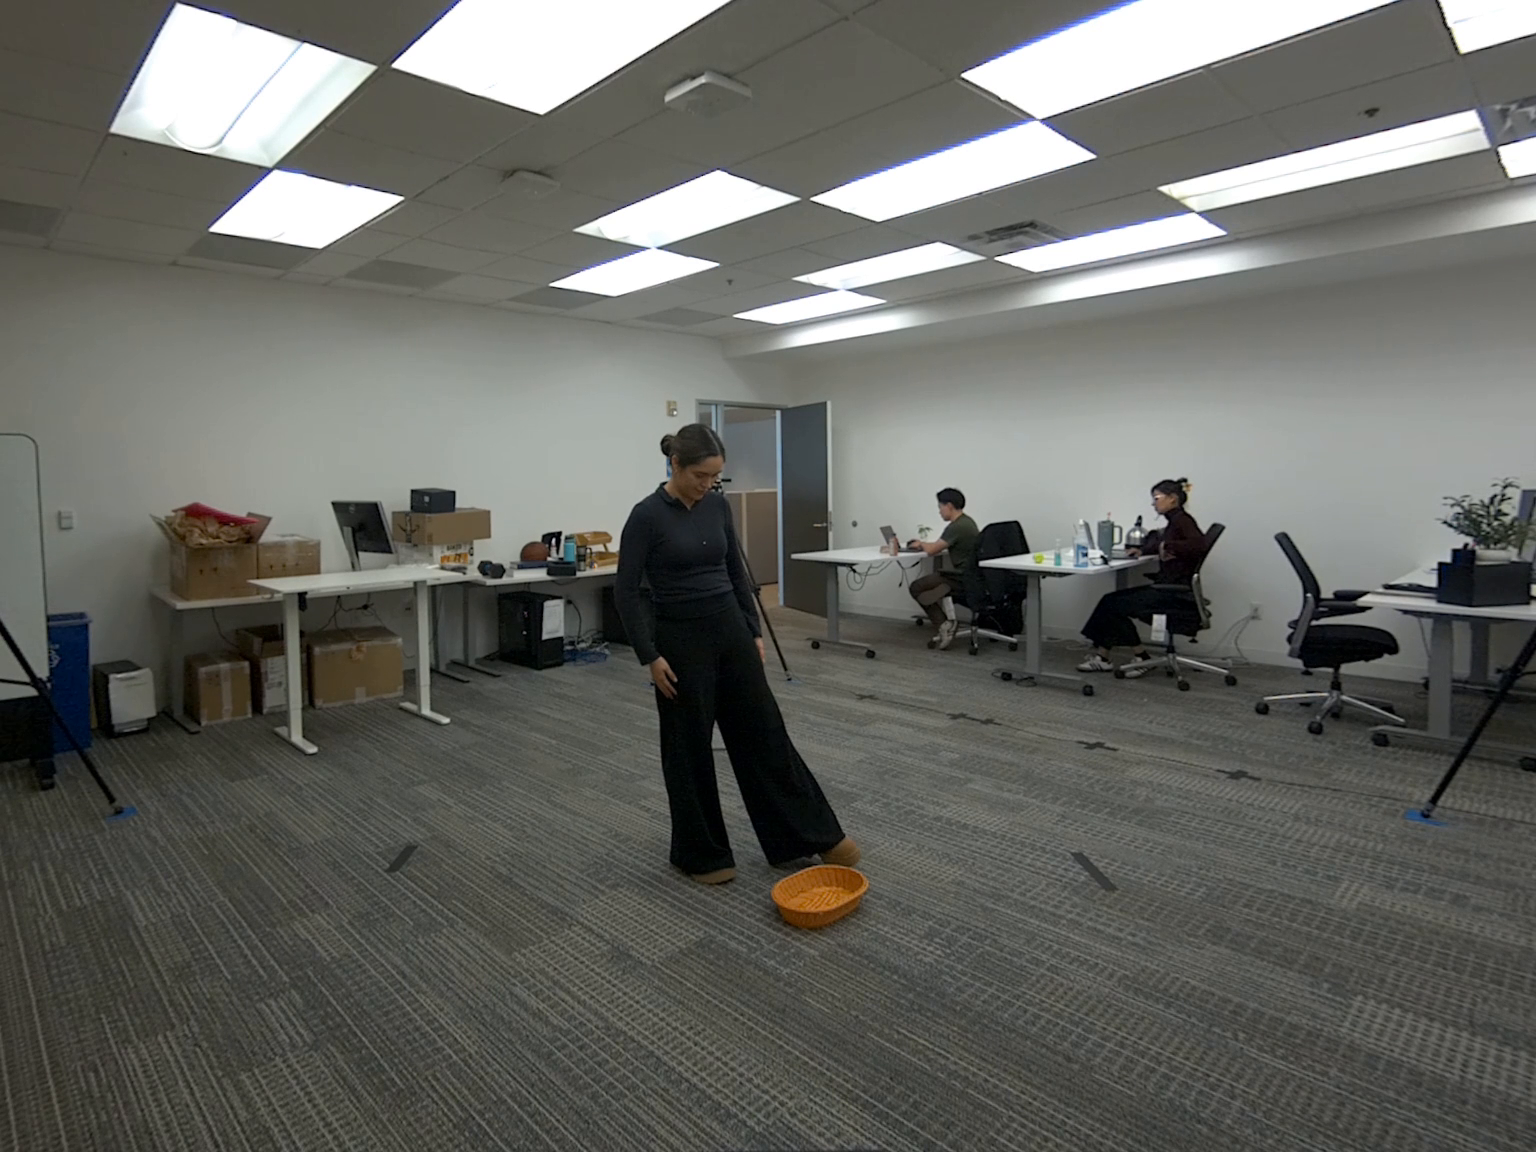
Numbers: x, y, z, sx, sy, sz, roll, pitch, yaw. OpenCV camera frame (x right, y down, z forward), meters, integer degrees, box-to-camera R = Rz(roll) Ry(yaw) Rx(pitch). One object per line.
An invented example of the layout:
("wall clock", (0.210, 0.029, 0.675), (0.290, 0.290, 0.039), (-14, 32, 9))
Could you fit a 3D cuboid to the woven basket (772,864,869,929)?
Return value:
("woven basket", (0.165, 1.041, 2.768), (0.341, 0.073, 0.260), (-8, 9, -43))
